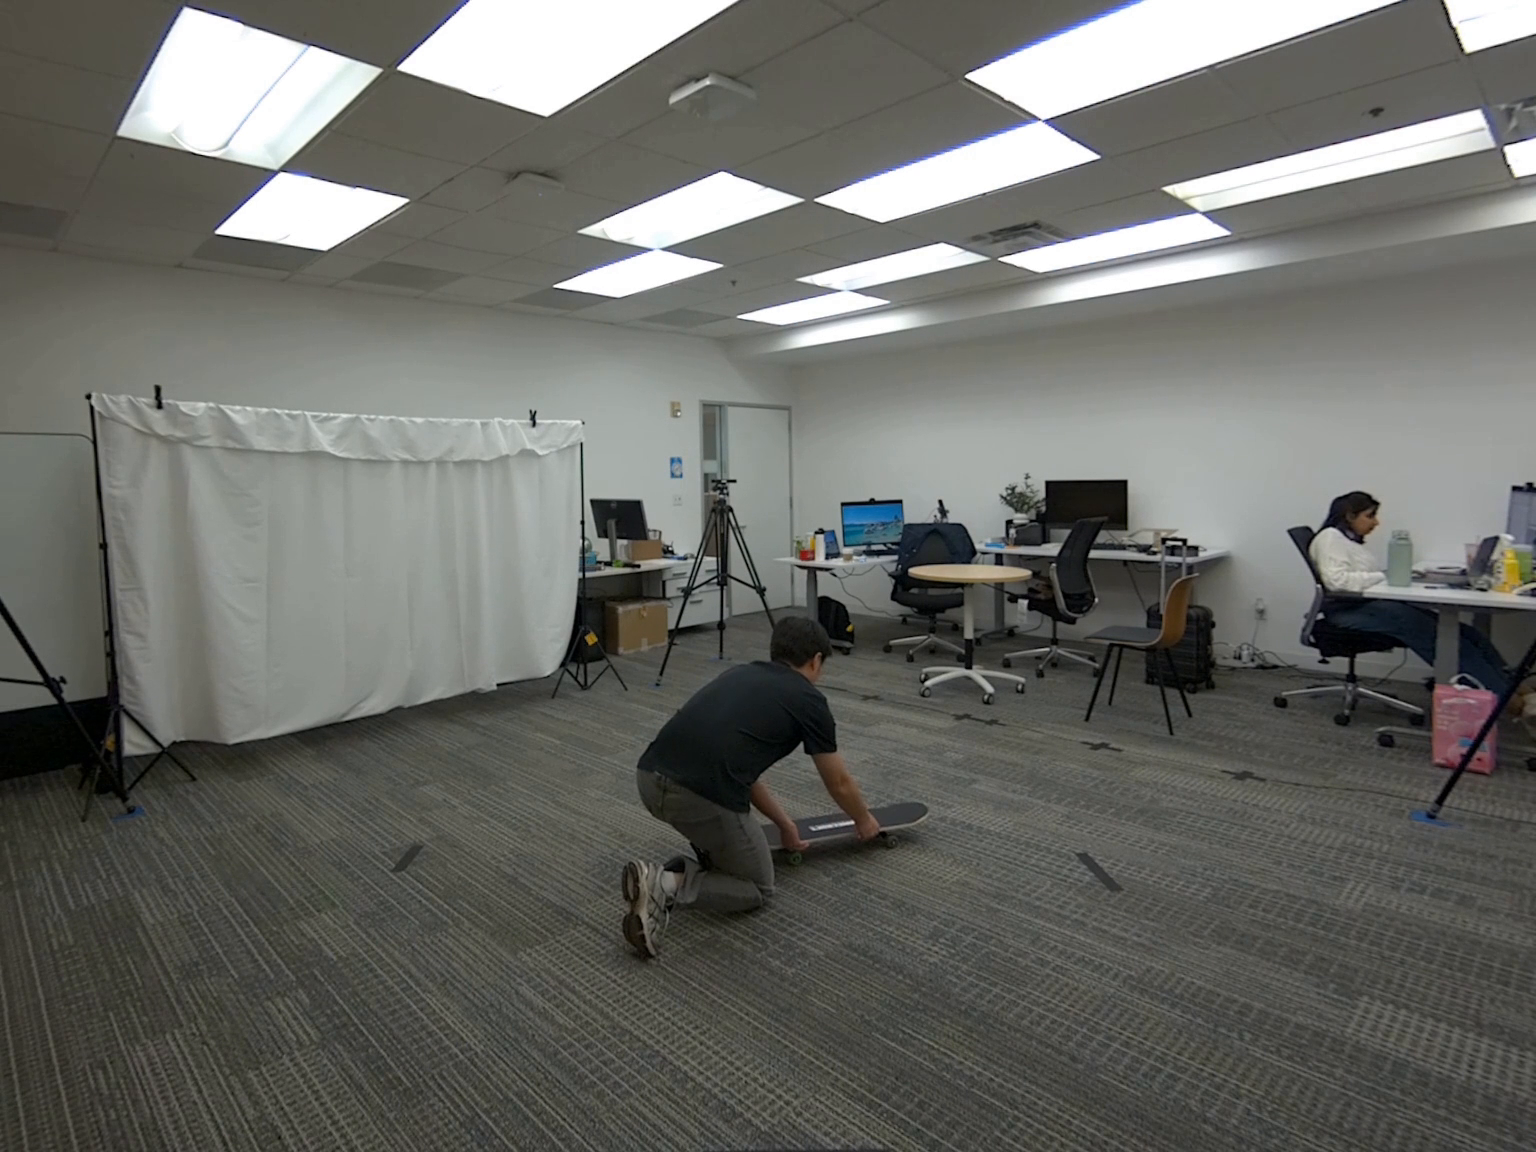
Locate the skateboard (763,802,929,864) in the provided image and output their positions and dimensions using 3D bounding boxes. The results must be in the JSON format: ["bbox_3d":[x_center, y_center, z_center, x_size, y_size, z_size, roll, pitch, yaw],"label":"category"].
[{"bbox_3d":[0.251,0.971,3.230,0.772,0.110,0.197,-3,6,-19],"label":"skateboard"}]
